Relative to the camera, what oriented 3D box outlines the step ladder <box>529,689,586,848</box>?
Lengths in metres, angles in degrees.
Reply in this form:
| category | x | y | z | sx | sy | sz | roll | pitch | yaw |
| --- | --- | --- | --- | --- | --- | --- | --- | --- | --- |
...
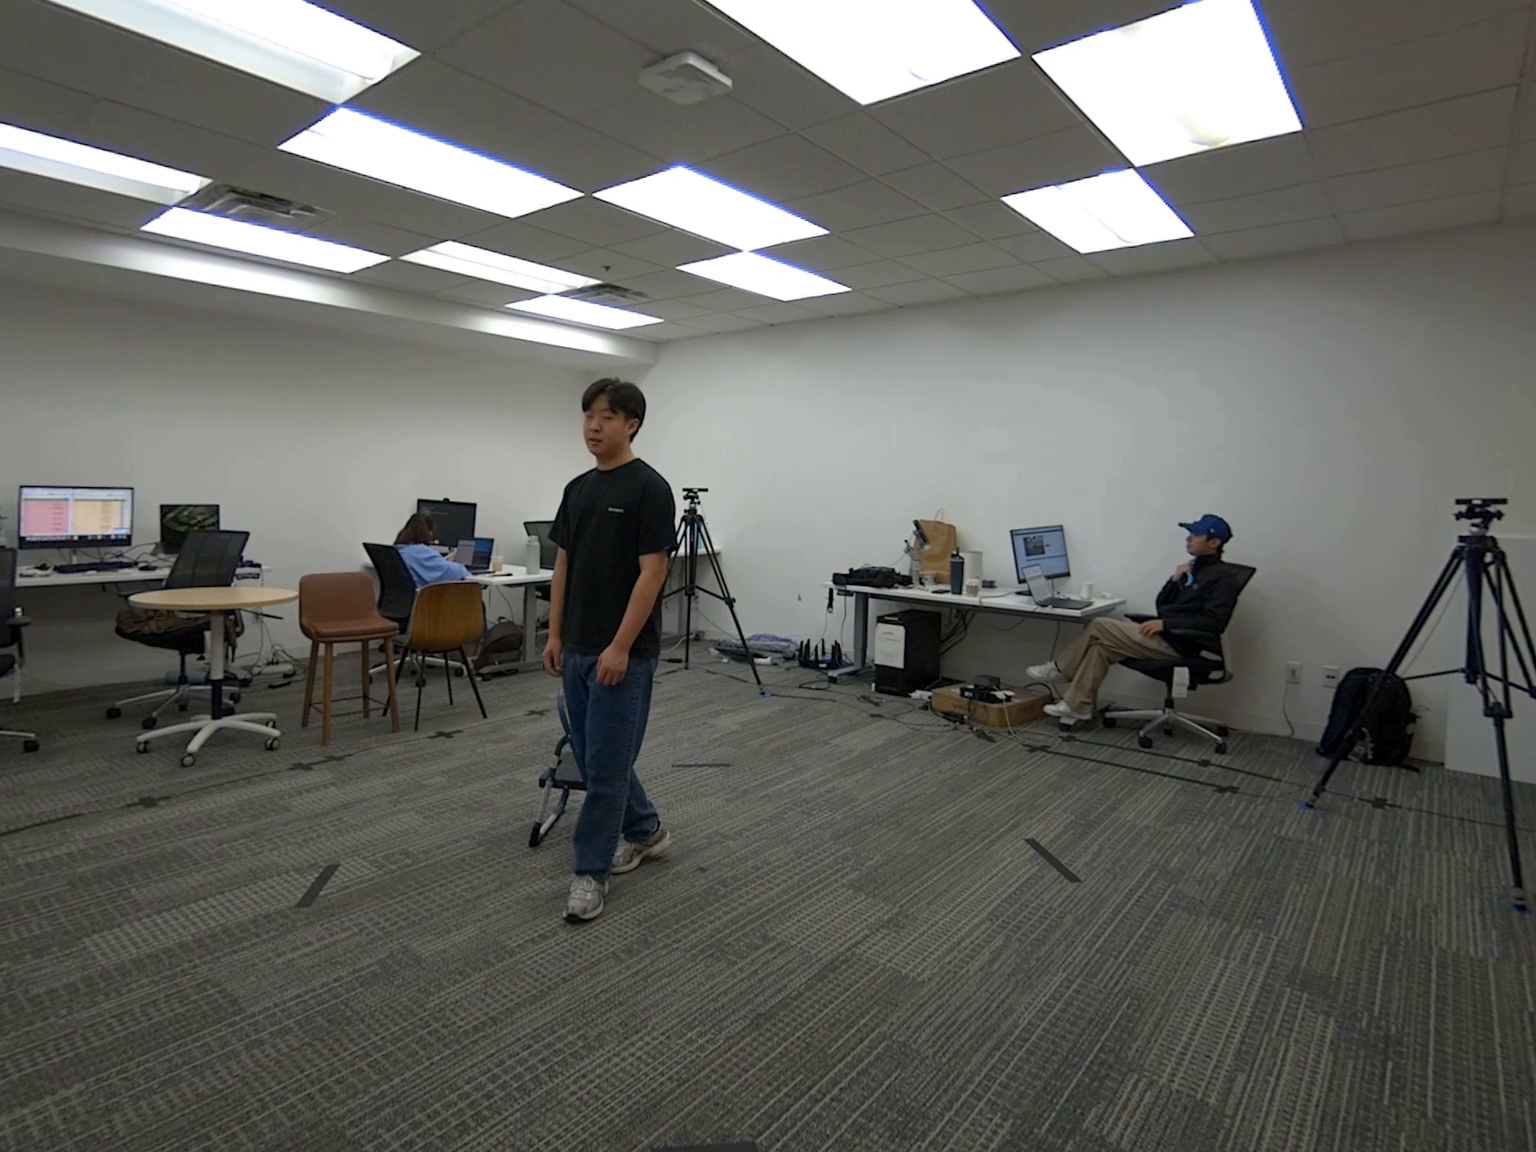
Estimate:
| category | x | y | z | sx | sy | sz | roll | pitch | yaw |
| --- | --- | --- | --- | --- | --- | --- | --- | --- | --- |
| step ladder | -0.750 | 0.729 | 3.441 | 0.351 | 0.605 | 0.430 | 1 | 3 | 2 |
